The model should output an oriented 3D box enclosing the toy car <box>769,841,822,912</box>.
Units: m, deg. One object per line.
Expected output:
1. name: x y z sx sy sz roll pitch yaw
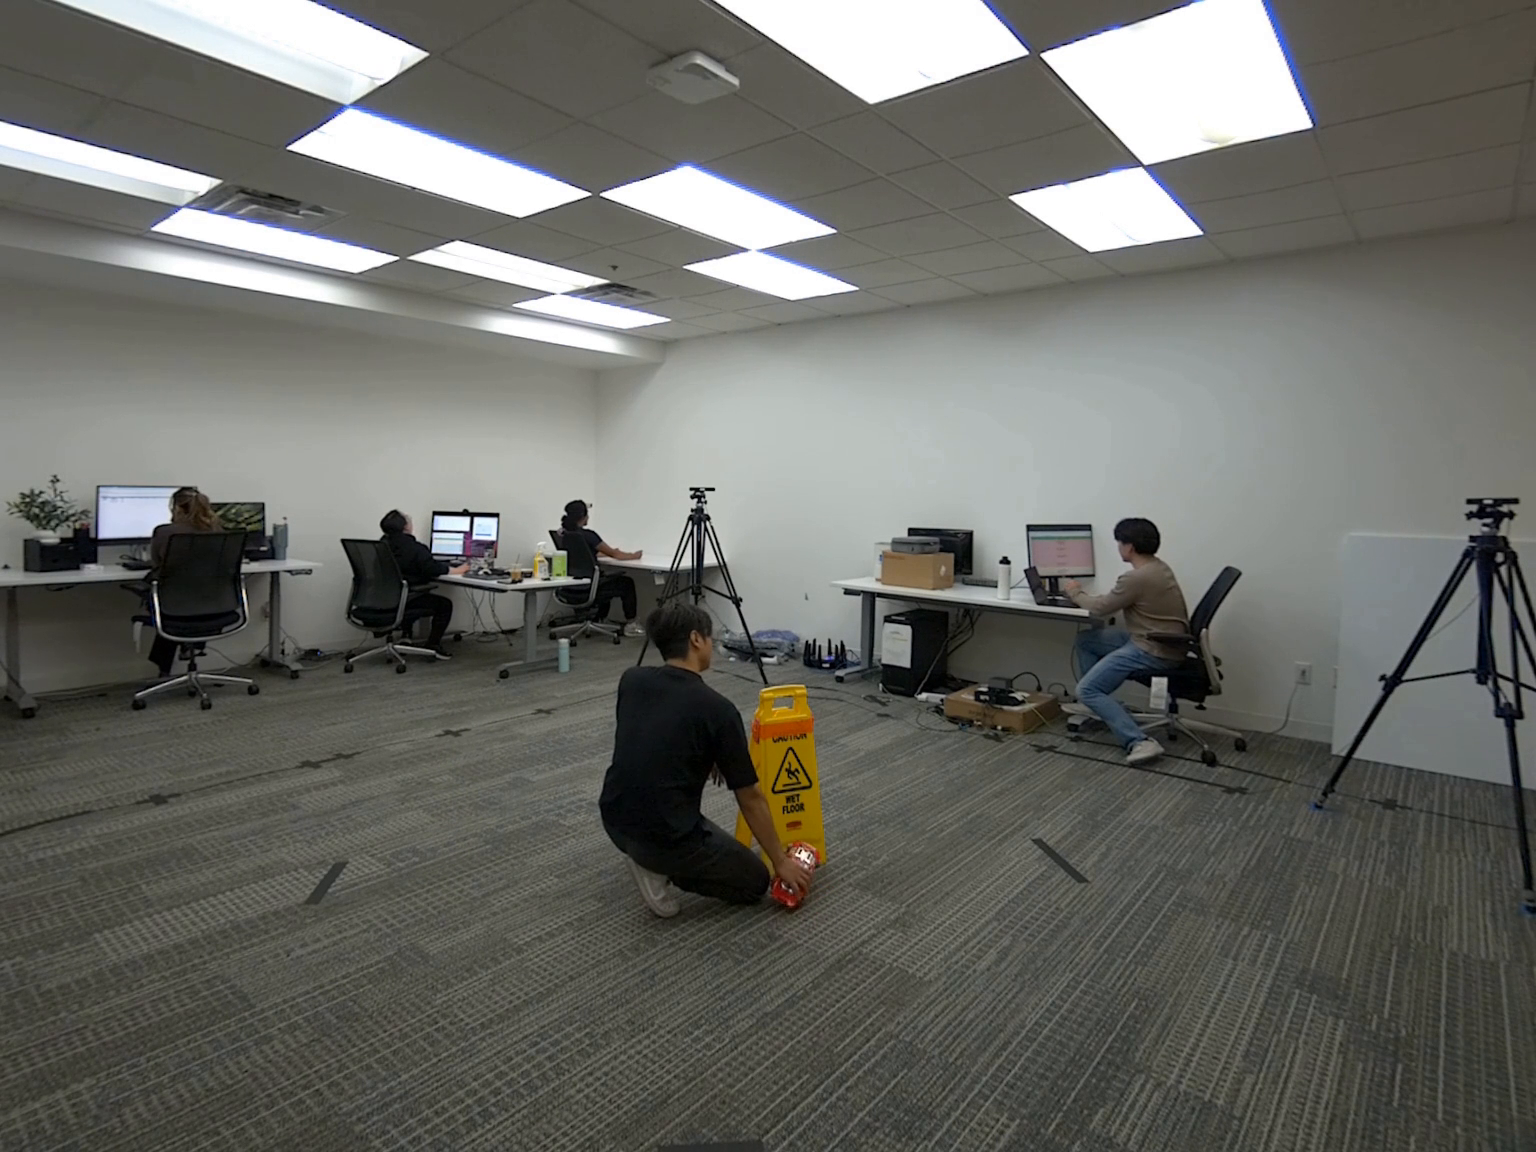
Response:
1. toy car: 0.076 1.025 2.894 0.133 0.082 0.253 25 31 13
